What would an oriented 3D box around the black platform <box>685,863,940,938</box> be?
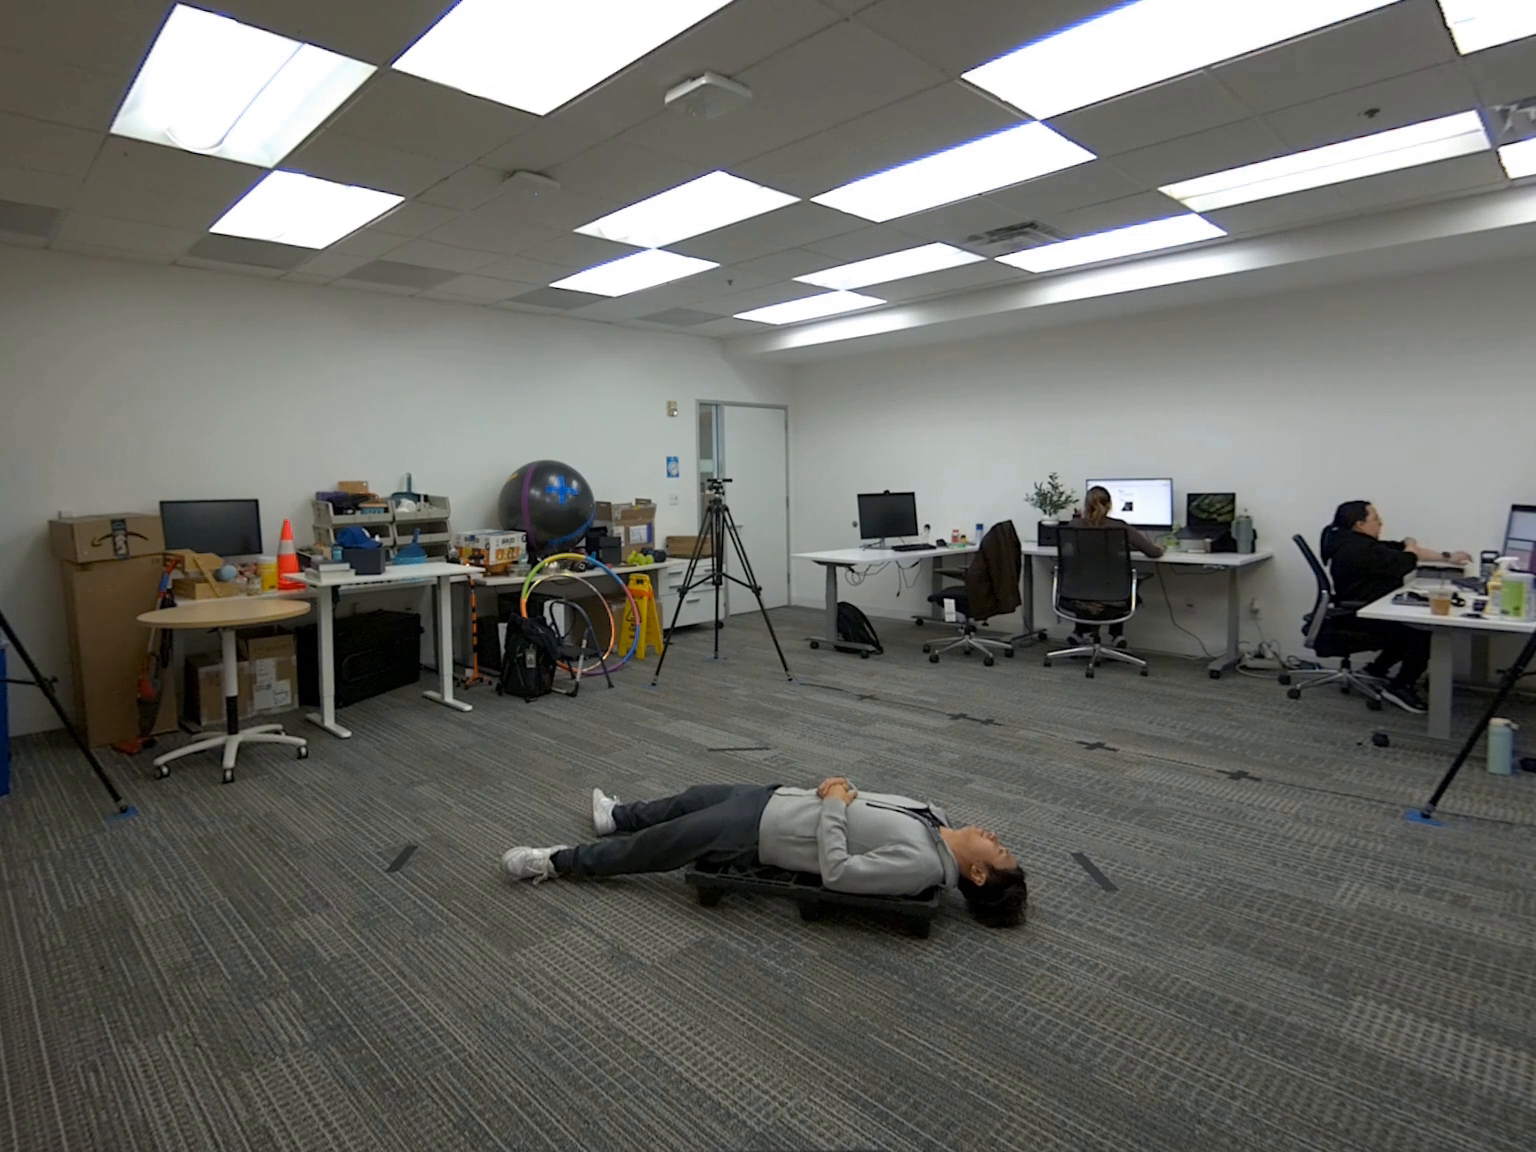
[{"bbox_3d":[0.193,0.995,2.912,0.820,0.142,0.597,3,7,18],"label":"black platform"}]
